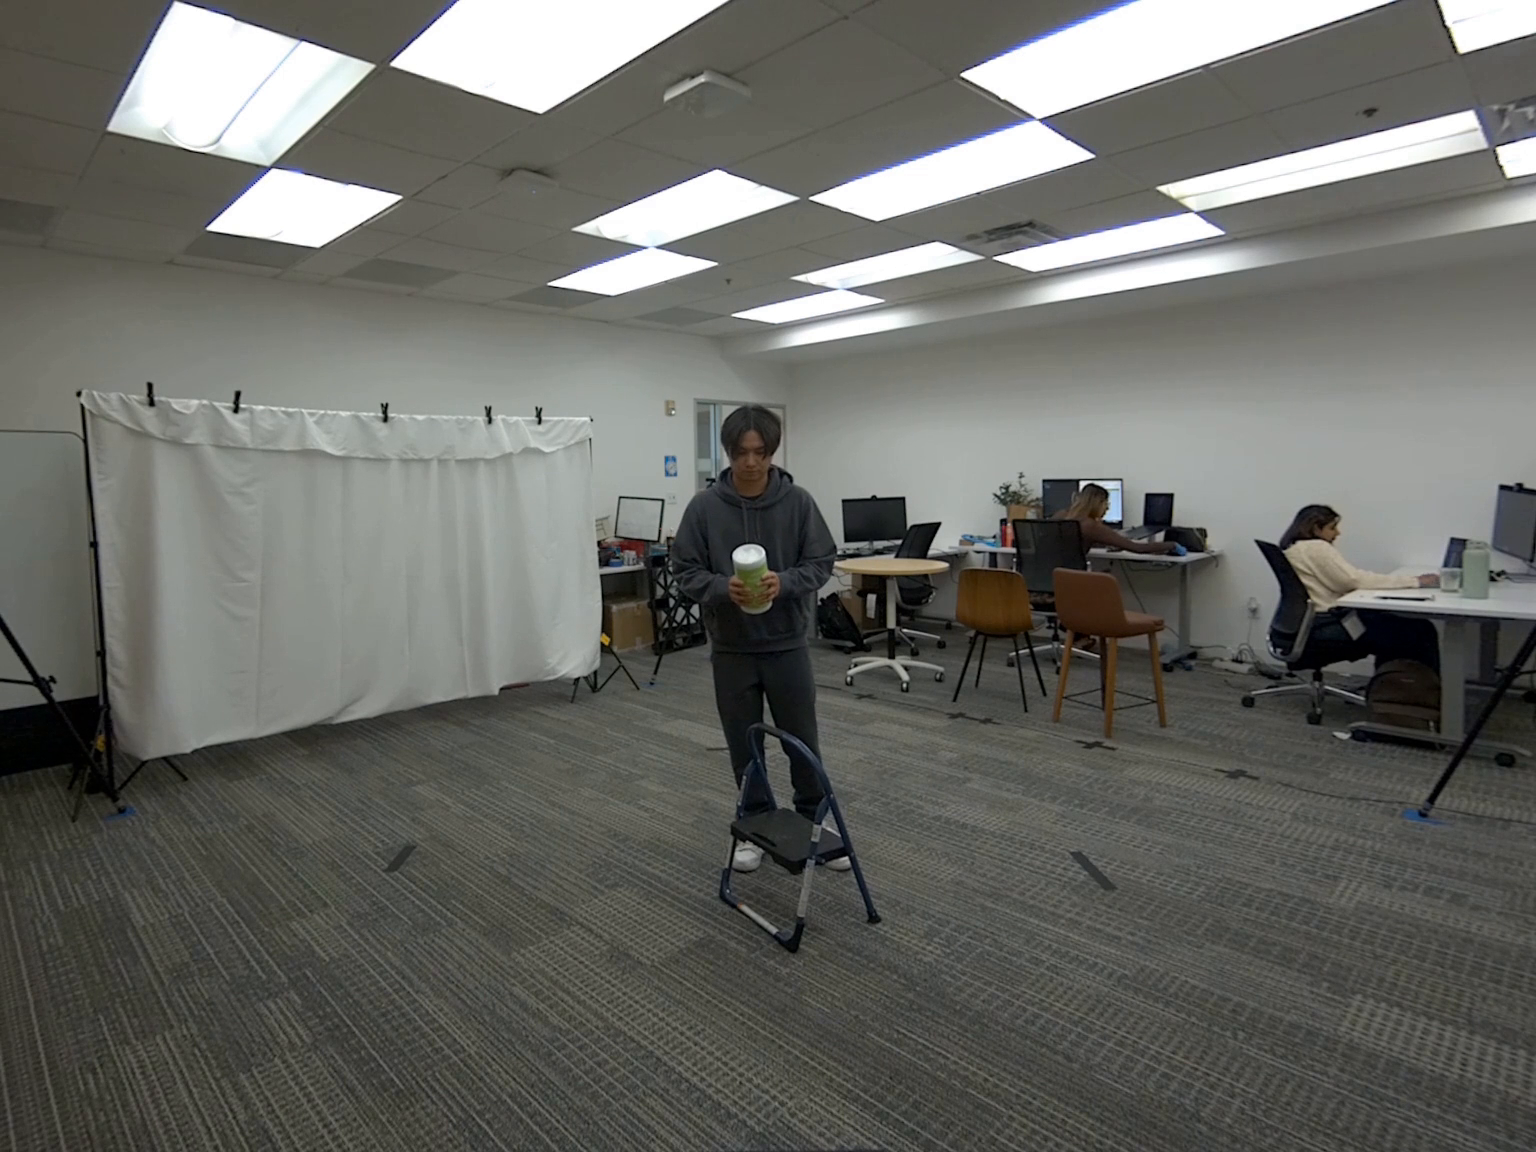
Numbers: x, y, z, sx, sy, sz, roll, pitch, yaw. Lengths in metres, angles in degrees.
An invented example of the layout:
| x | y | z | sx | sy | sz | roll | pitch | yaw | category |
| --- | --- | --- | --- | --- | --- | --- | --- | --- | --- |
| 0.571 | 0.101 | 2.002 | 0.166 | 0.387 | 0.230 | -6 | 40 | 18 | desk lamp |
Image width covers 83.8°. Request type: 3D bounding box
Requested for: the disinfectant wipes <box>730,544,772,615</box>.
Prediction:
| x | y | z | sx | sy | sz | roll | pitch | yaw | category |
| --- | --- | --- | --- | --- | --- | --- | --- | --- | --- |
| -0.051 | 0.010 | 2.824 | 0.118 | 0.211 | 0.121 | -7 | 35 | 3 | disinfectant wipes |
